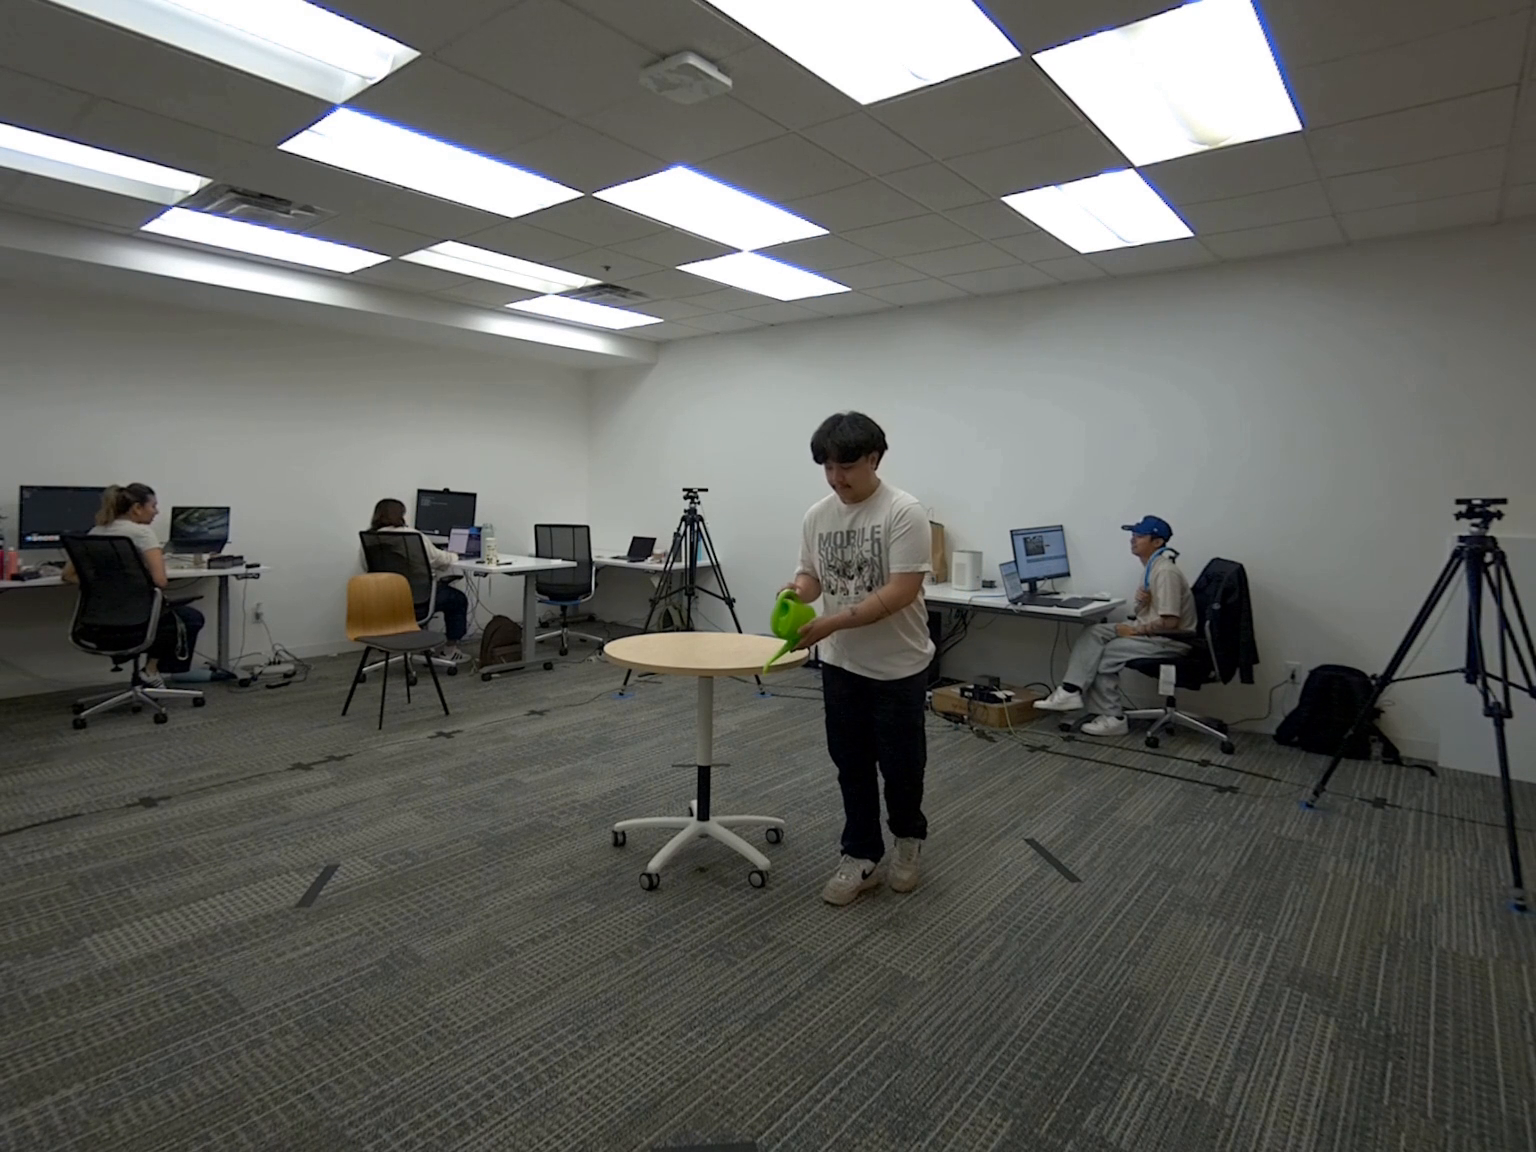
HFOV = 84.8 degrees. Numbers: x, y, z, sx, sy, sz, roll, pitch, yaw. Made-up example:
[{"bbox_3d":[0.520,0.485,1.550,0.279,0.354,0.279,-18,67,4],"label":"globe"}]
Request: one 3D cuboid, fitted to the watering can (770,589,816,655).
[{"bbox_3d":[0.049,0.180,2.771,0.102,0.278,0.170,20,0,42],"label":"watering can"}]
